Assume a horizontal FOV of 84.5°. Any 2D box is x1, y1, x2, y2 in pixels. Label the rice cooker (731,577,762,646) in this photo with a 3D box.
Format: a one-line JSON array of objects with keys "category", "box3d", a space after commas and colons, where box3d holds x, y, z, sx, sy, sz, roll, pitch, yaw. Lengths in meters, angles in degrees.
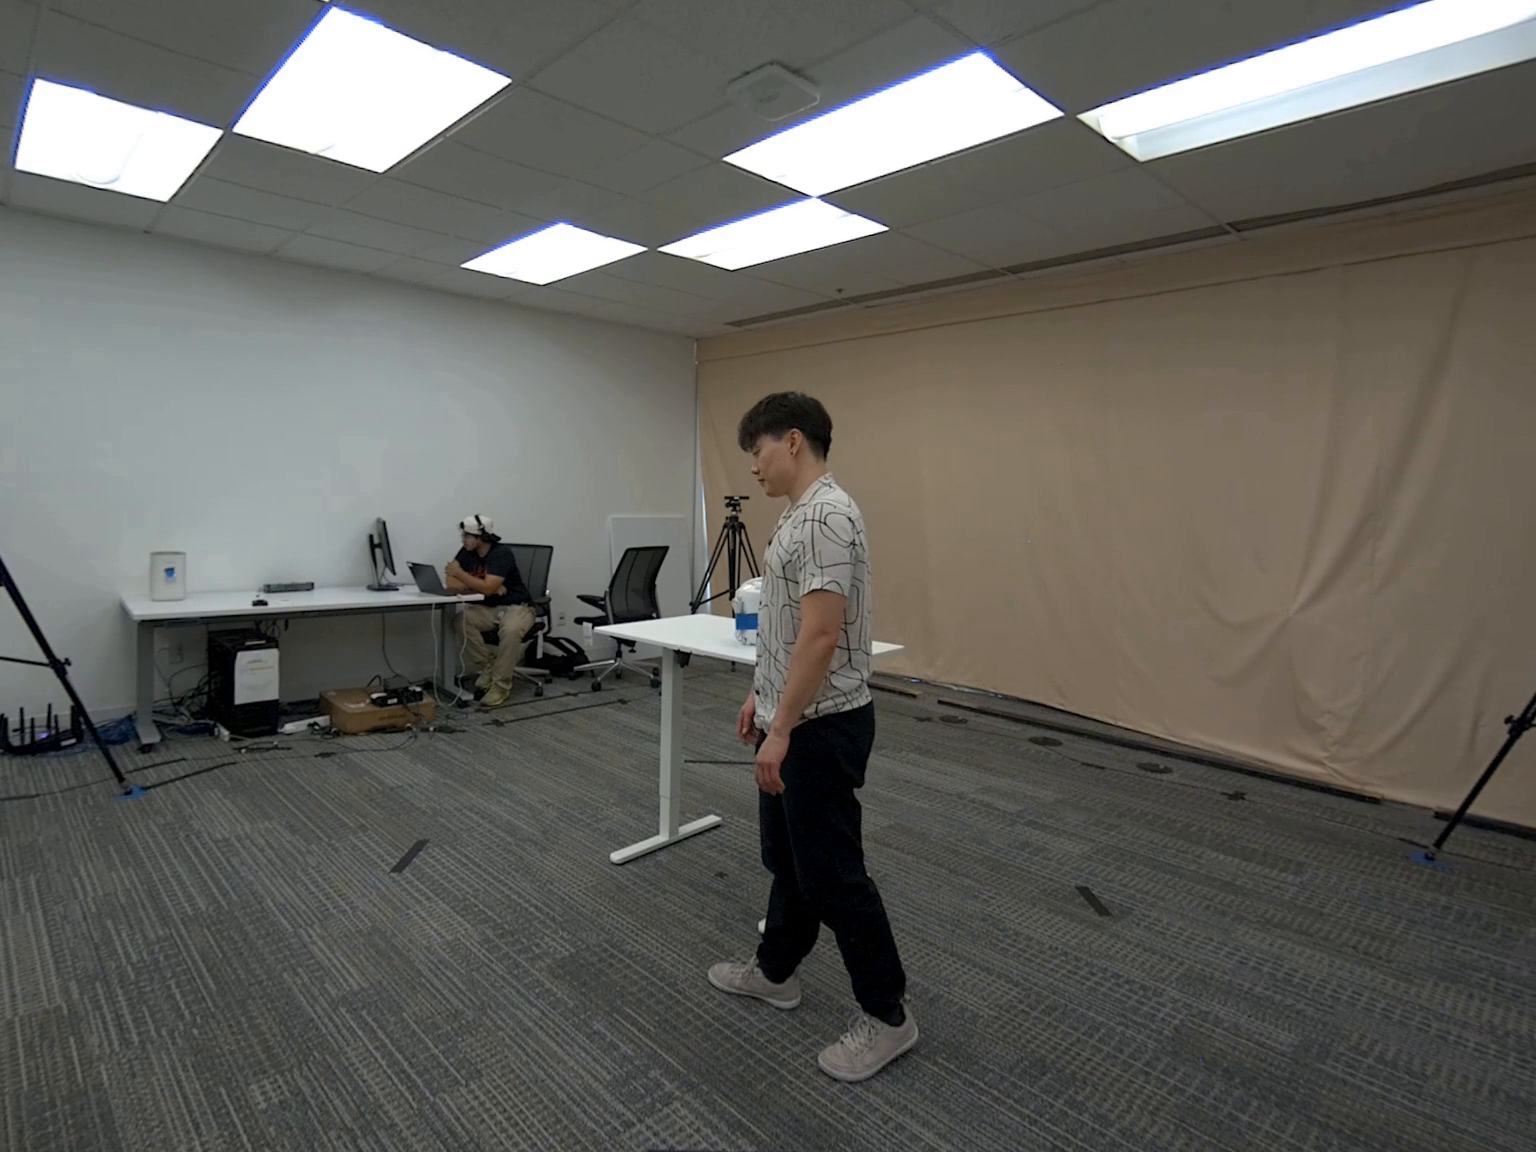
[{"category": "rice cooker", "box3d": [-0.011, 0.119, 2.977, 0.223, 0.232, 0.216, 3, 6, 11]}]
